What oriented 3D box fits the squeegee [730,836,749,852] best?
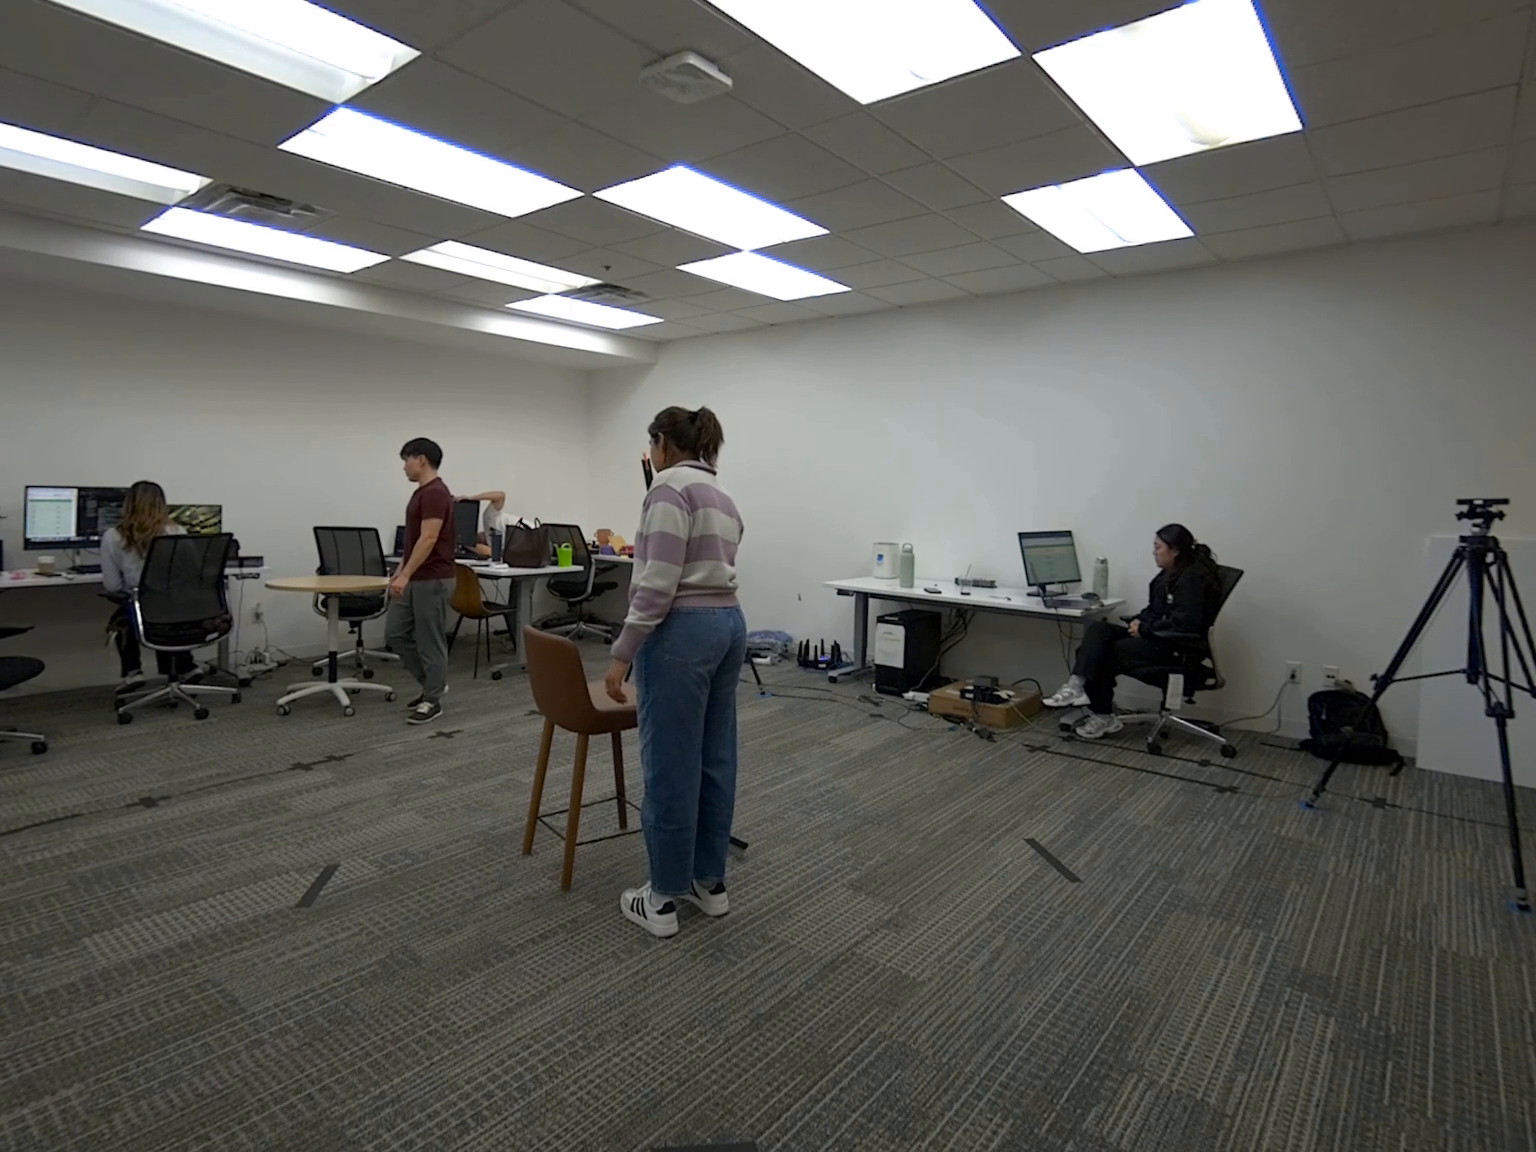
[{"bbox_3d":[-0.349,0.275,3.300,0.052,1.530,0.450,-10,5,-34],"label":"squeegee"}]
